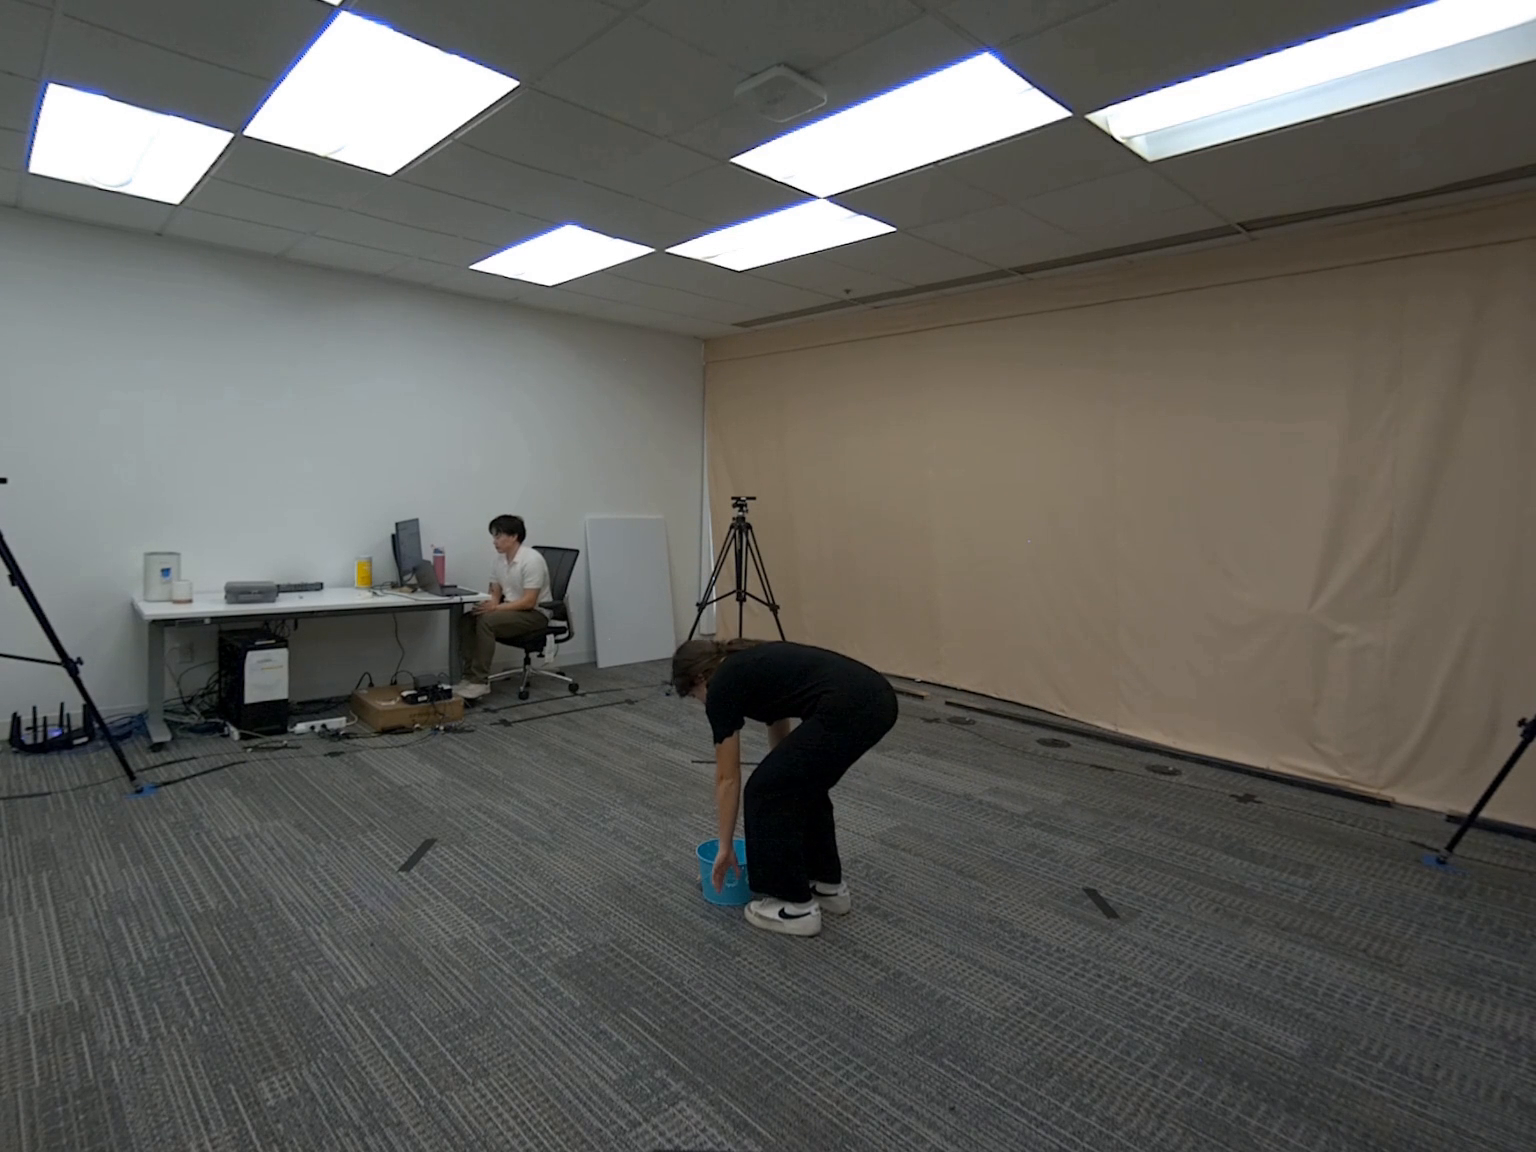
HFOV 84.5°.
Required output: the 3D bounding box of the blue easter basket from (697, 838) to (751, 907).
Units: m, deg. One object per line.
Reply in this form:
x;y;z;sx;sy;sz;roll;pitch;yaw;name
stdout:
-0.141;1.039;2.967;0.243;0.155;0.244;2;5;-2;blue easter basket
